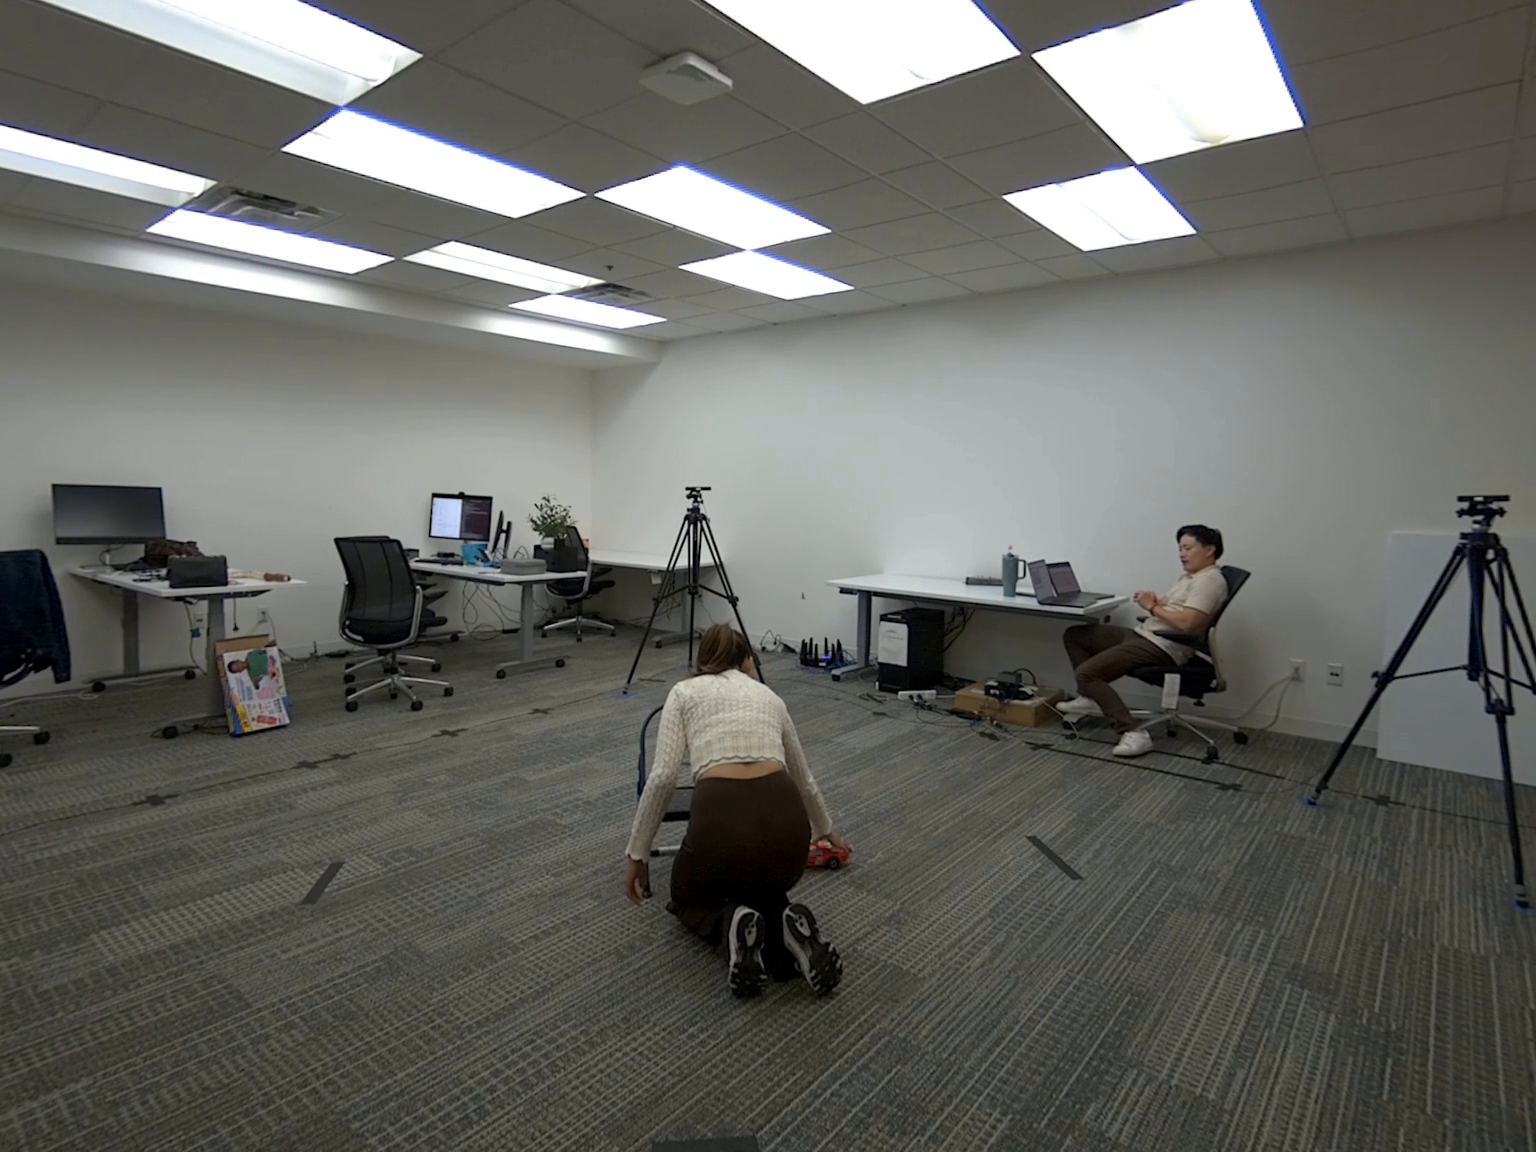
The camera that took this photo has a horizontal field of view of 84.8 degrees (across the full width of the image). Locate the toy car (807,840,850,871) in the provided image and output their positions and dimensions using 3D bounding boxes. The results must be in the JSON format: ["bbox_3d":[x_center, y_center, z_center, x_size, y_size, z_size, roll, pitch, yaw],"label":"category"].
[{"bbox_3d":[0.156,1.037,3.156,0.252,0.083,0.132,-9,6,-9],"label":"toy car"}]
